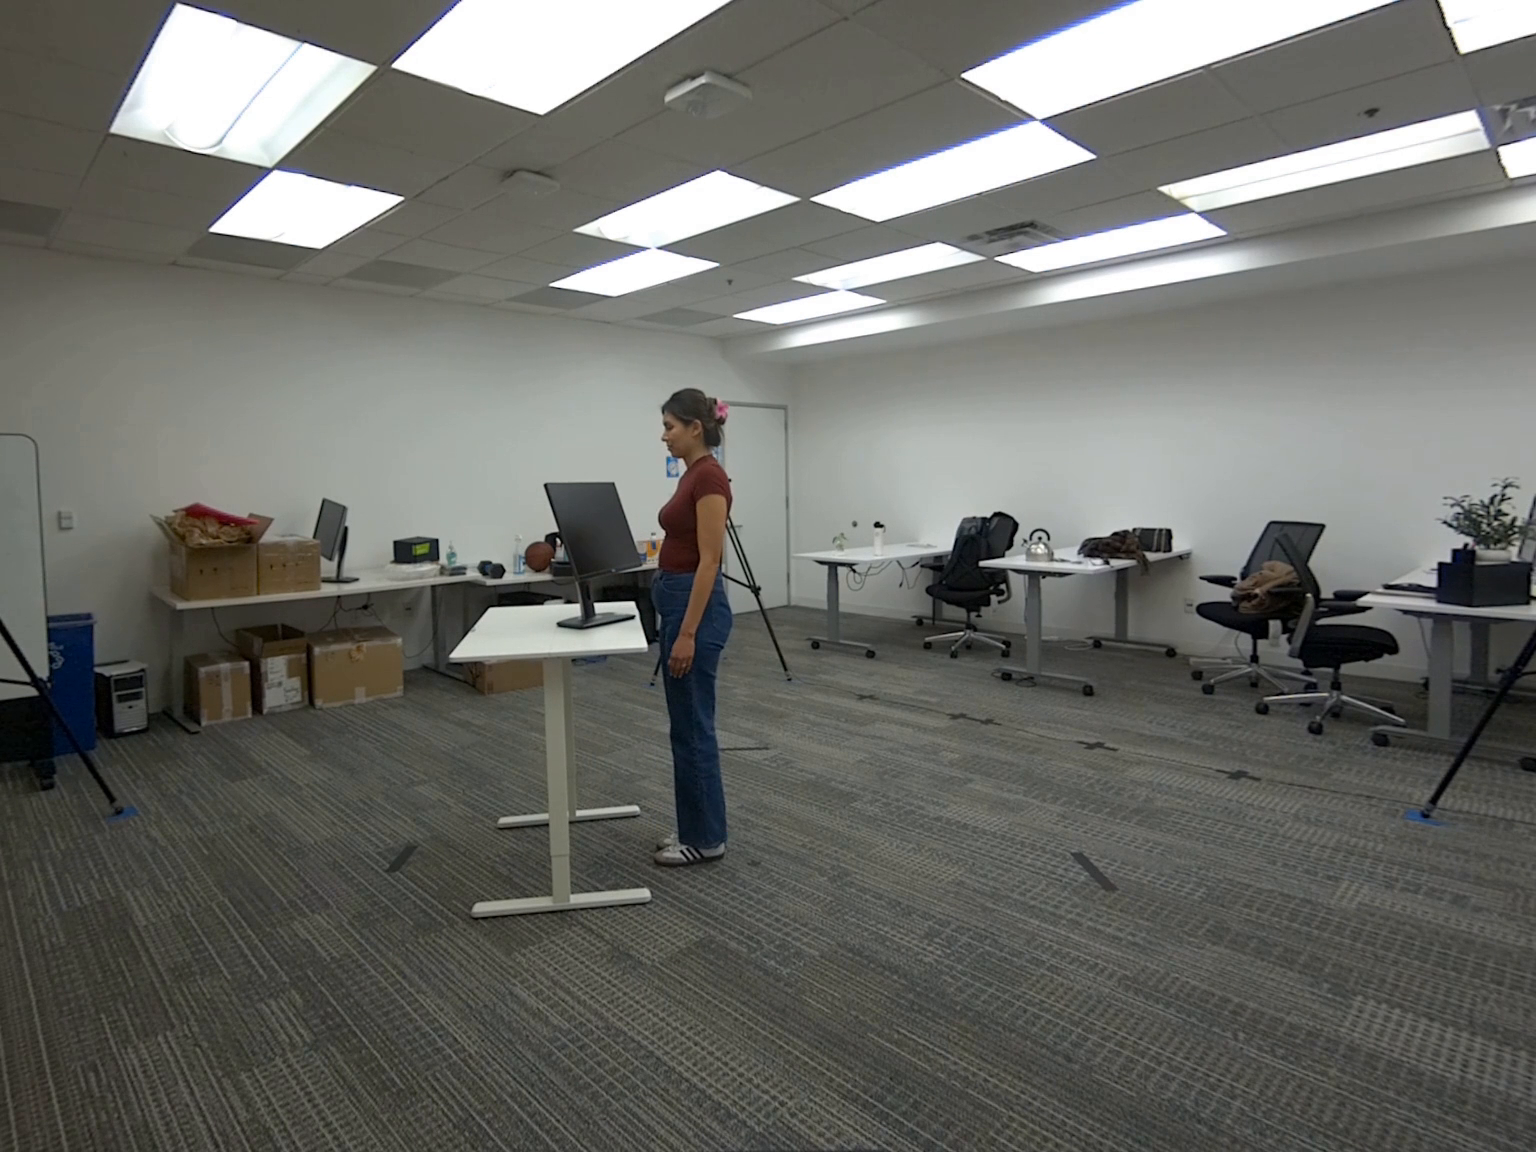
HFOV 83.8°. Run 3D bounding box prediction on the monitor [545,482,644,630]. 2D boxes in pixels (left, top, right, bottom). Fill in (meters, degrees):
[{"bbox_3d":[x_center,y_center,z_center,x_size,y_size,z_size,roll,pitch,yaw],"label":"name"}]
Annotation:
[{"bbox_3d":[-0.651,-0.084,3.146,0.190,0.521,0.533,-4,3,14],"label":"monitor"}]
